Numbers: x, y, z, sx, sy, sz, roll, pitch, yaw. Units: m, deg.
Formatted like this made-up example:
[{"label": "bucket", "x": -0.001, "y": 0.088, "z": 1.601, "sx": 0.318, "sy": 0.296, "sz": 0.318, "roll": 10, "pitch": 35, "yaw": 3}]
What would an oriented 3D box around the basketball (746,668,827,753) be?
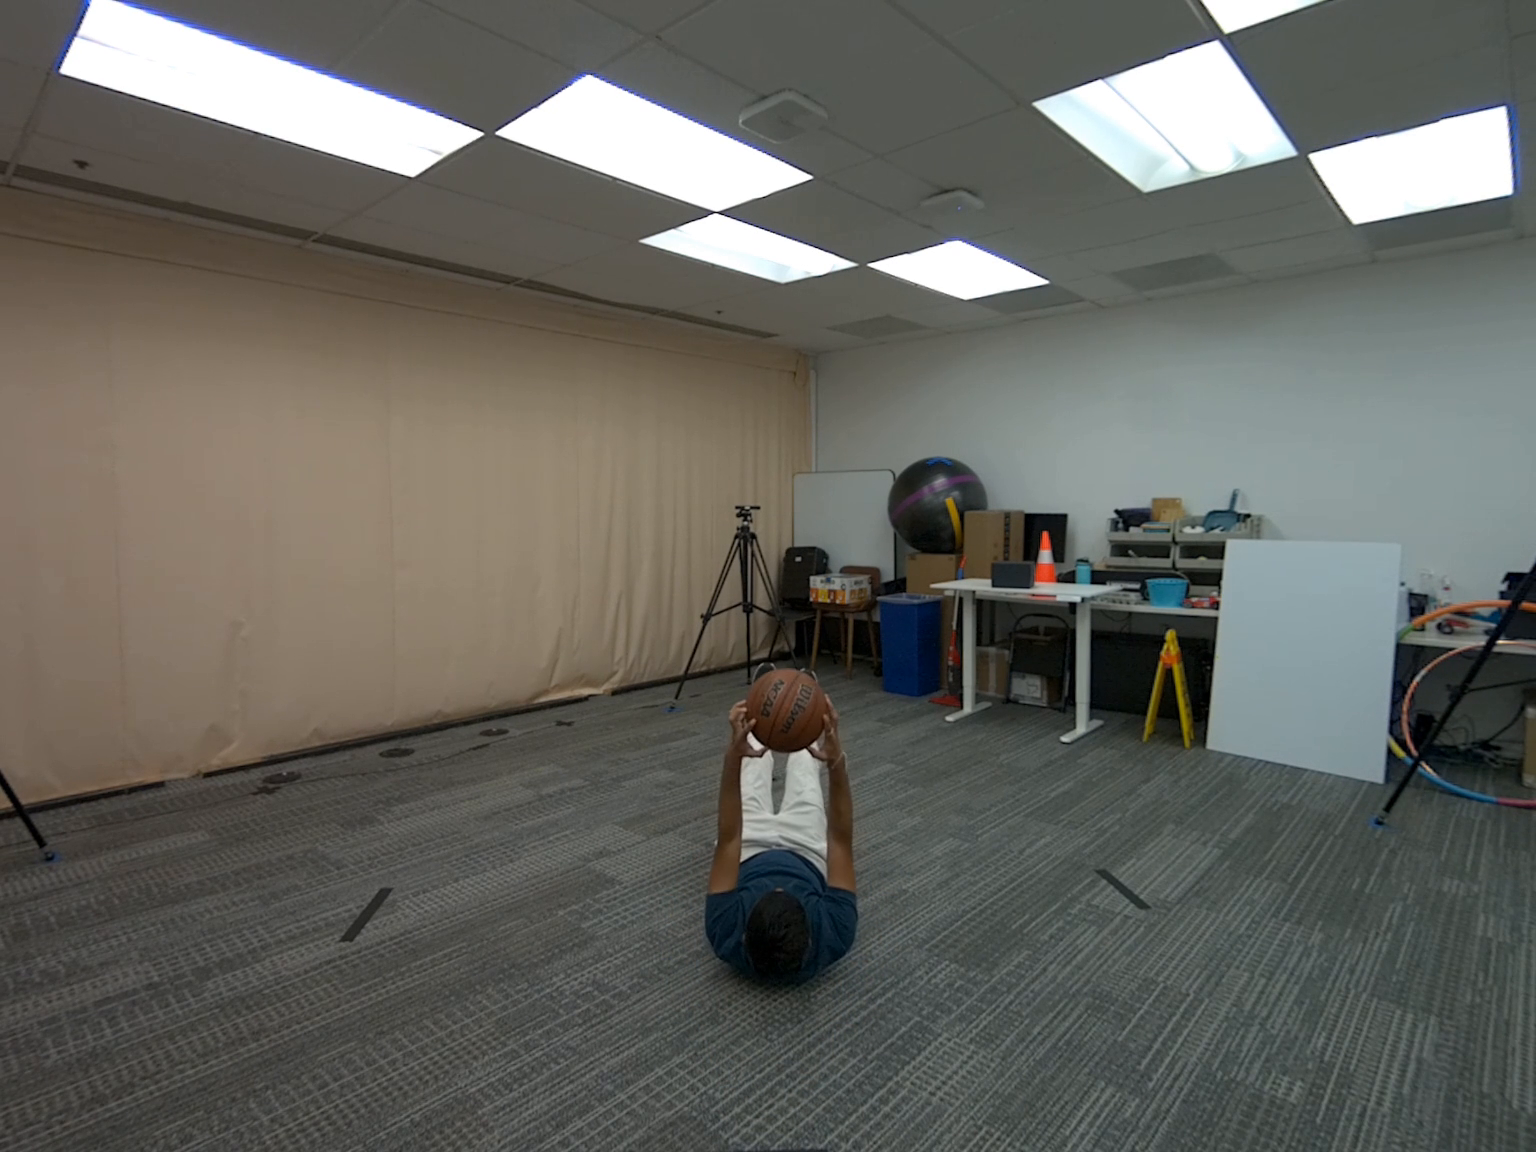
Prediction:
[{"label": "basketball", "x": 0.059, "y": 0.396, "z": 2.410, "sx": 0.236, "sy": 0.235, "sz": 0.237, "roll": 0, "pitch": 4, "yaw": -2}]
